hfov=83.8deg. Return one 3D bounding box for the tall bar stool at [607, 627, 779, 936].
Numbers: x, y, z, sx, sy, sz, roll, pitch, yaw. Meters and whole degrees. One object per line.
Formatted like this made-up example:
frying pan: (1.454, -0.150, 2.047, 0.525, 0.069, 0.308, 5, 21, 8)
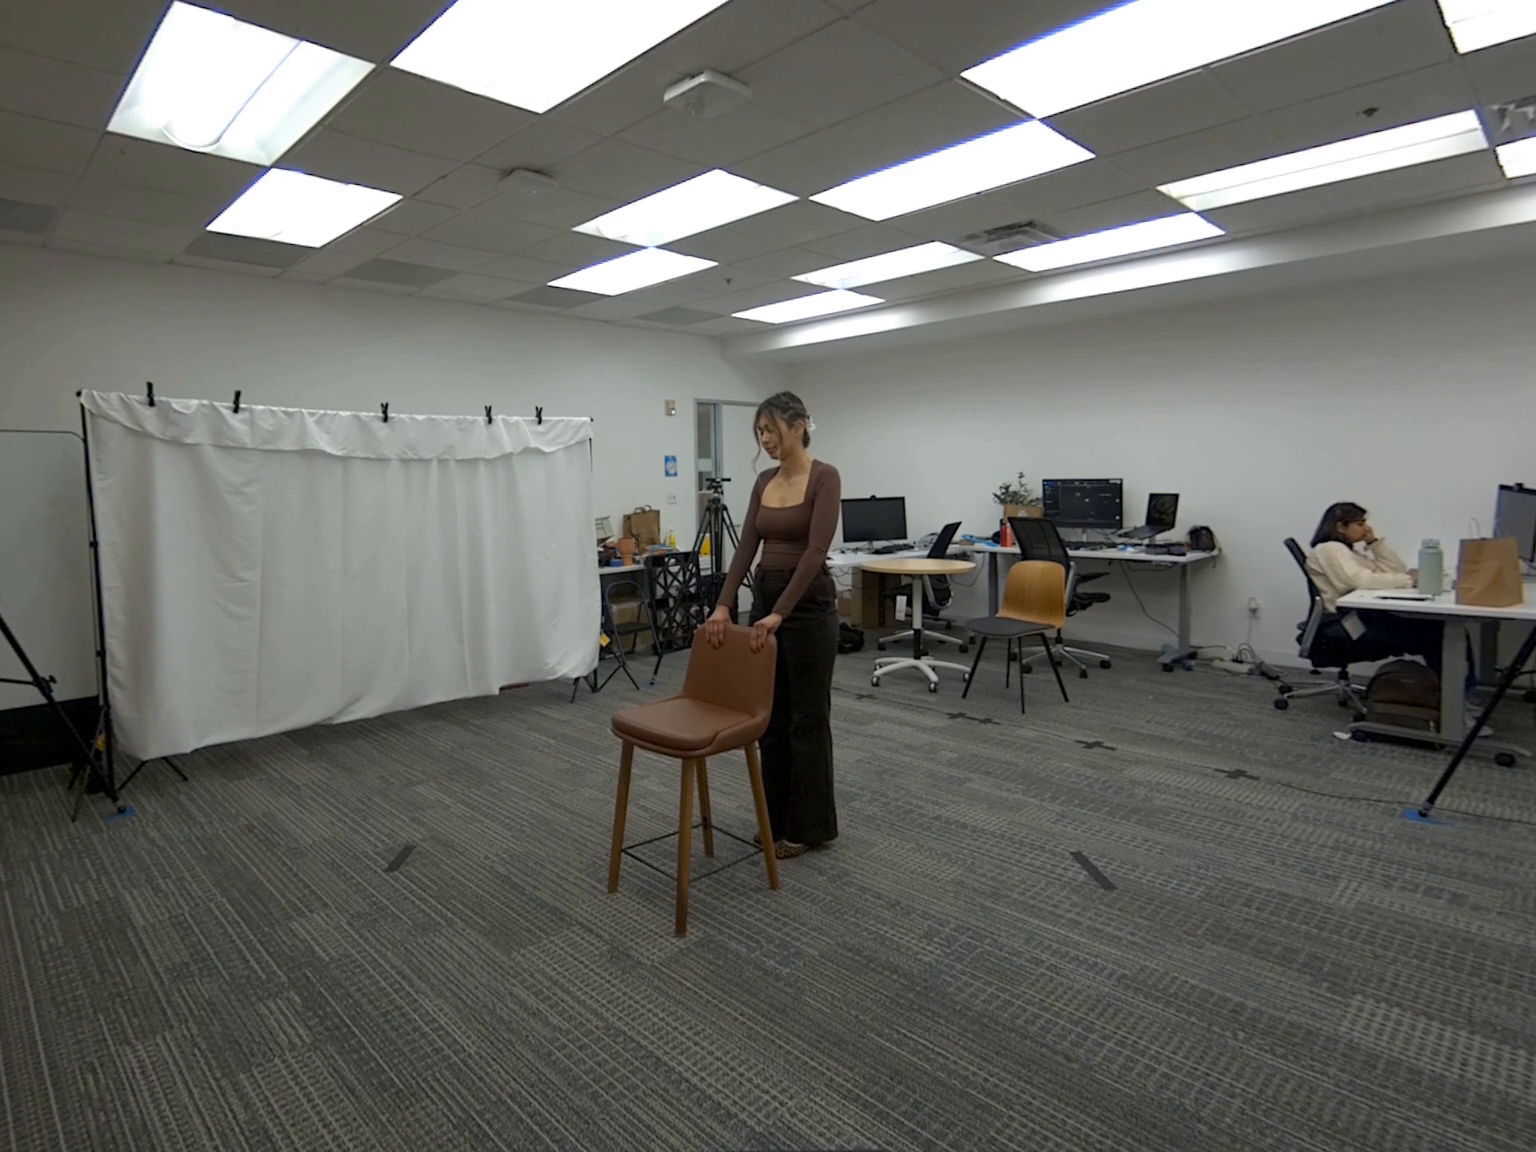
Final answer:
tall bar stool: (-0.246, 0.634, 2.883, 0.454, 0.888, 0.470, -2, 4, -42)
